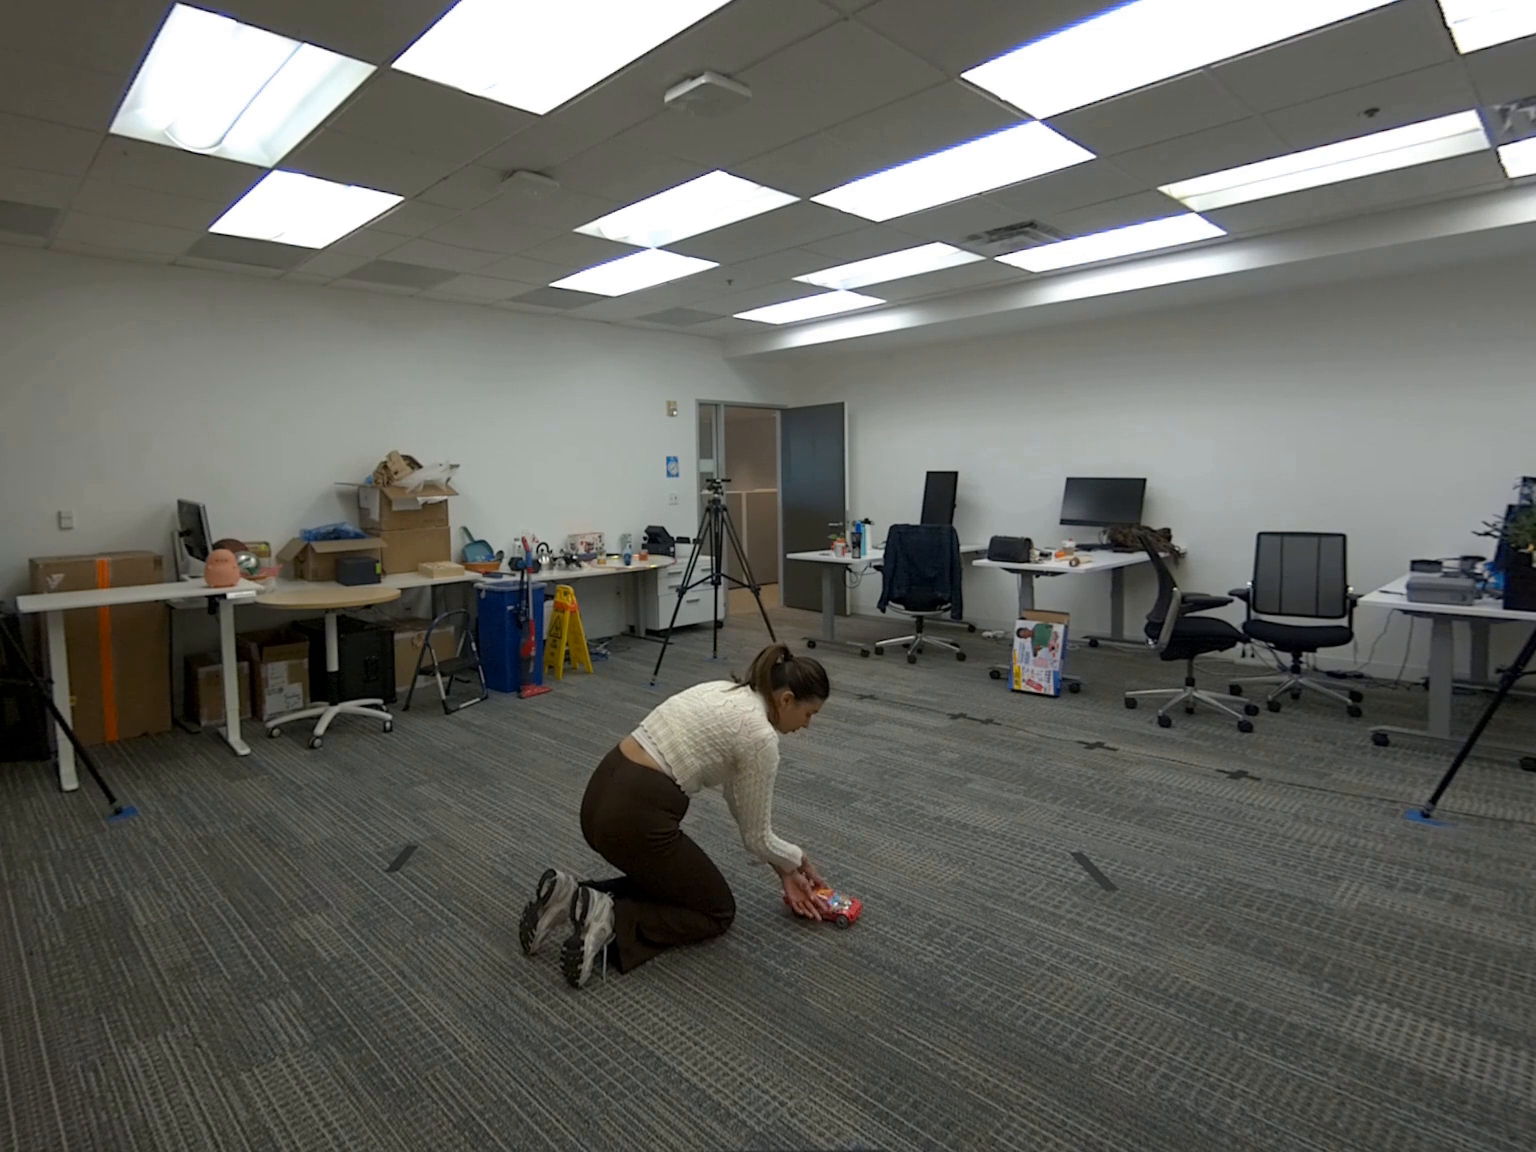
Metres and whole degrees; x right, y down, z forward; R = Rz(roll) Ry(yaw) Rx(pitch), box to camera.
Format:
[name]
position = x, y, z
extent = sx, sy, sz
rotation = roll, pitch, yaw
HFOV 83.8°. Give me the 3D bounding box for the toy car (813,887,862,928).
[toy car]
position = 0.178, 1.054, 2.732
extent = 0.262, 0.083, 0.127
rotation = 10, 9, 28
